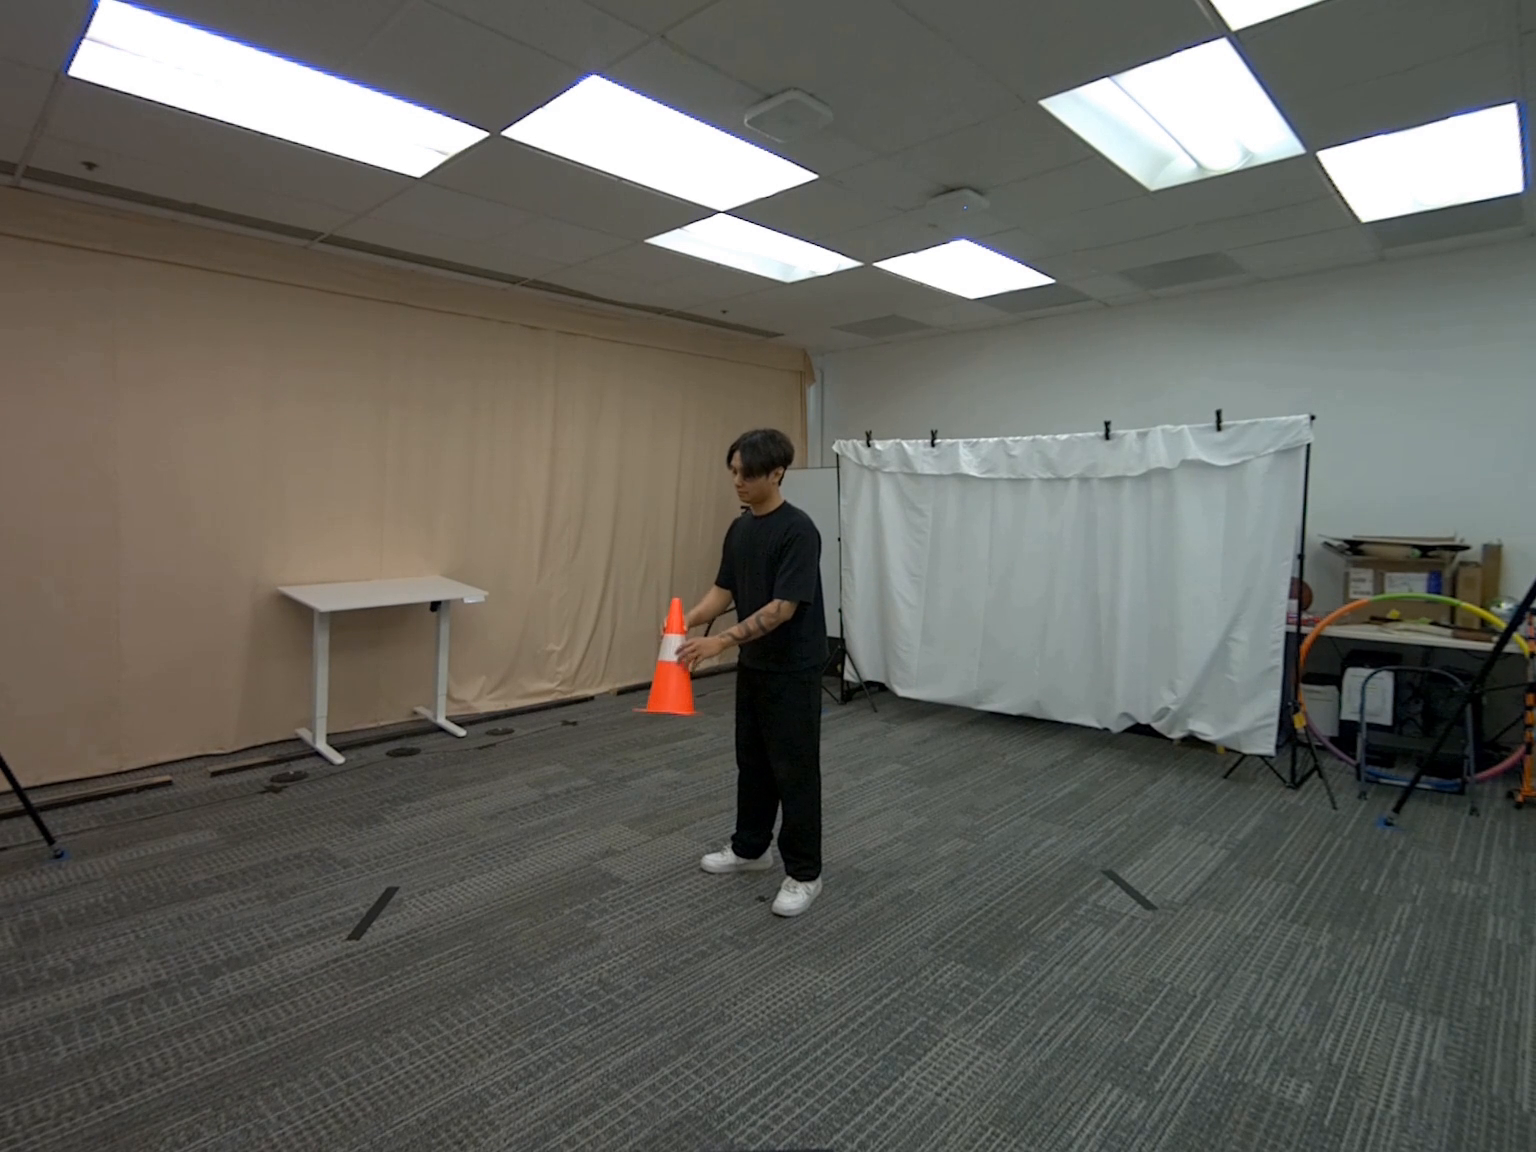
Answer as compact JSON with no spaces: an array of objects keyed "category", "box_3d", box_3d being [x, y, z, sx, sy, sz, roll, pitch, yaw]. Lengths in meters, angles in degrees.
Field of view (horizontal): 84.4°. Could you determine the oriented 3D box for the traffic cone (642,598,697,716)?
[{"category":"traffic cone","box_3d":[-0.321,0.275,2.852,0.207,0.385,0.200,-1,-8,18]}]
